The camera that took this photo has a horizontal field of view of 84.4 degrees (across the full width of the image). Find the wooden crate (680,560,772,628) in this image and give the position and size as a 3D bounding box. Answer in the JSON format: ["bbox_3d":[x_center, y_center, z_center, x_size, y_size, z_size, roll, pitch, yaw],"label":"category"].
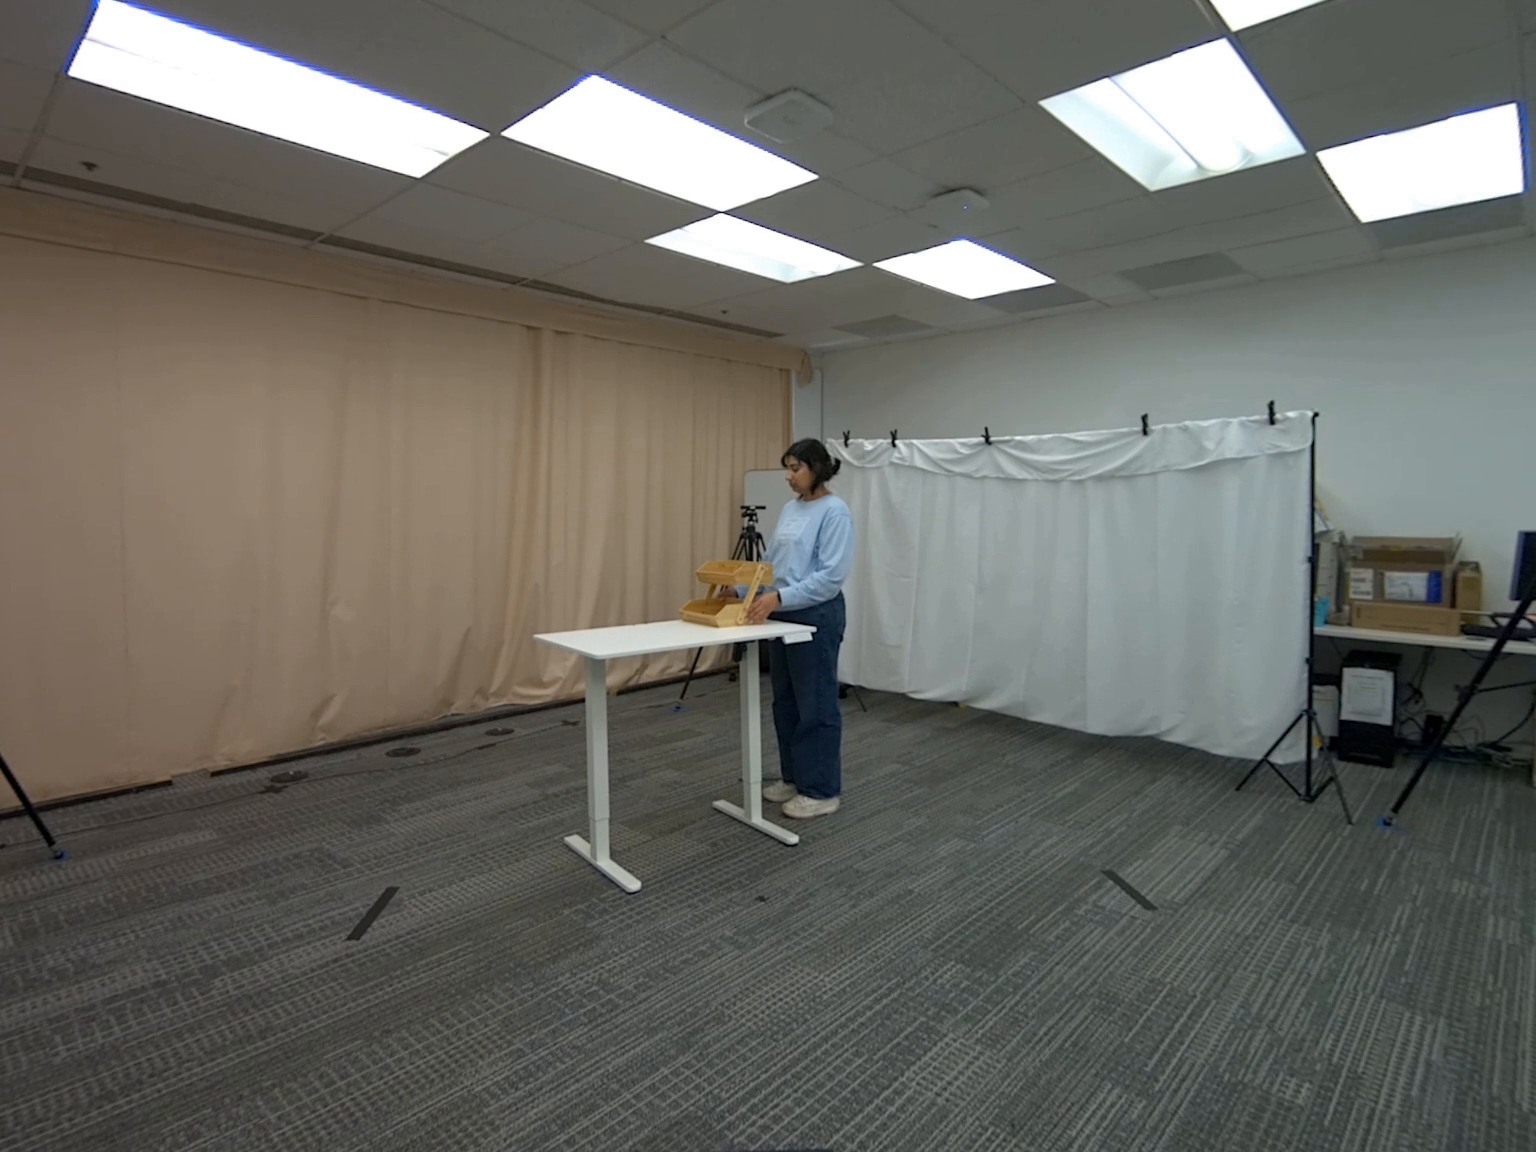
[{"bbox_3d":[-0.187,0.072,3.717,0.293,0.273,0.334,-2,3,-34],"label":"wooden crate"}]
